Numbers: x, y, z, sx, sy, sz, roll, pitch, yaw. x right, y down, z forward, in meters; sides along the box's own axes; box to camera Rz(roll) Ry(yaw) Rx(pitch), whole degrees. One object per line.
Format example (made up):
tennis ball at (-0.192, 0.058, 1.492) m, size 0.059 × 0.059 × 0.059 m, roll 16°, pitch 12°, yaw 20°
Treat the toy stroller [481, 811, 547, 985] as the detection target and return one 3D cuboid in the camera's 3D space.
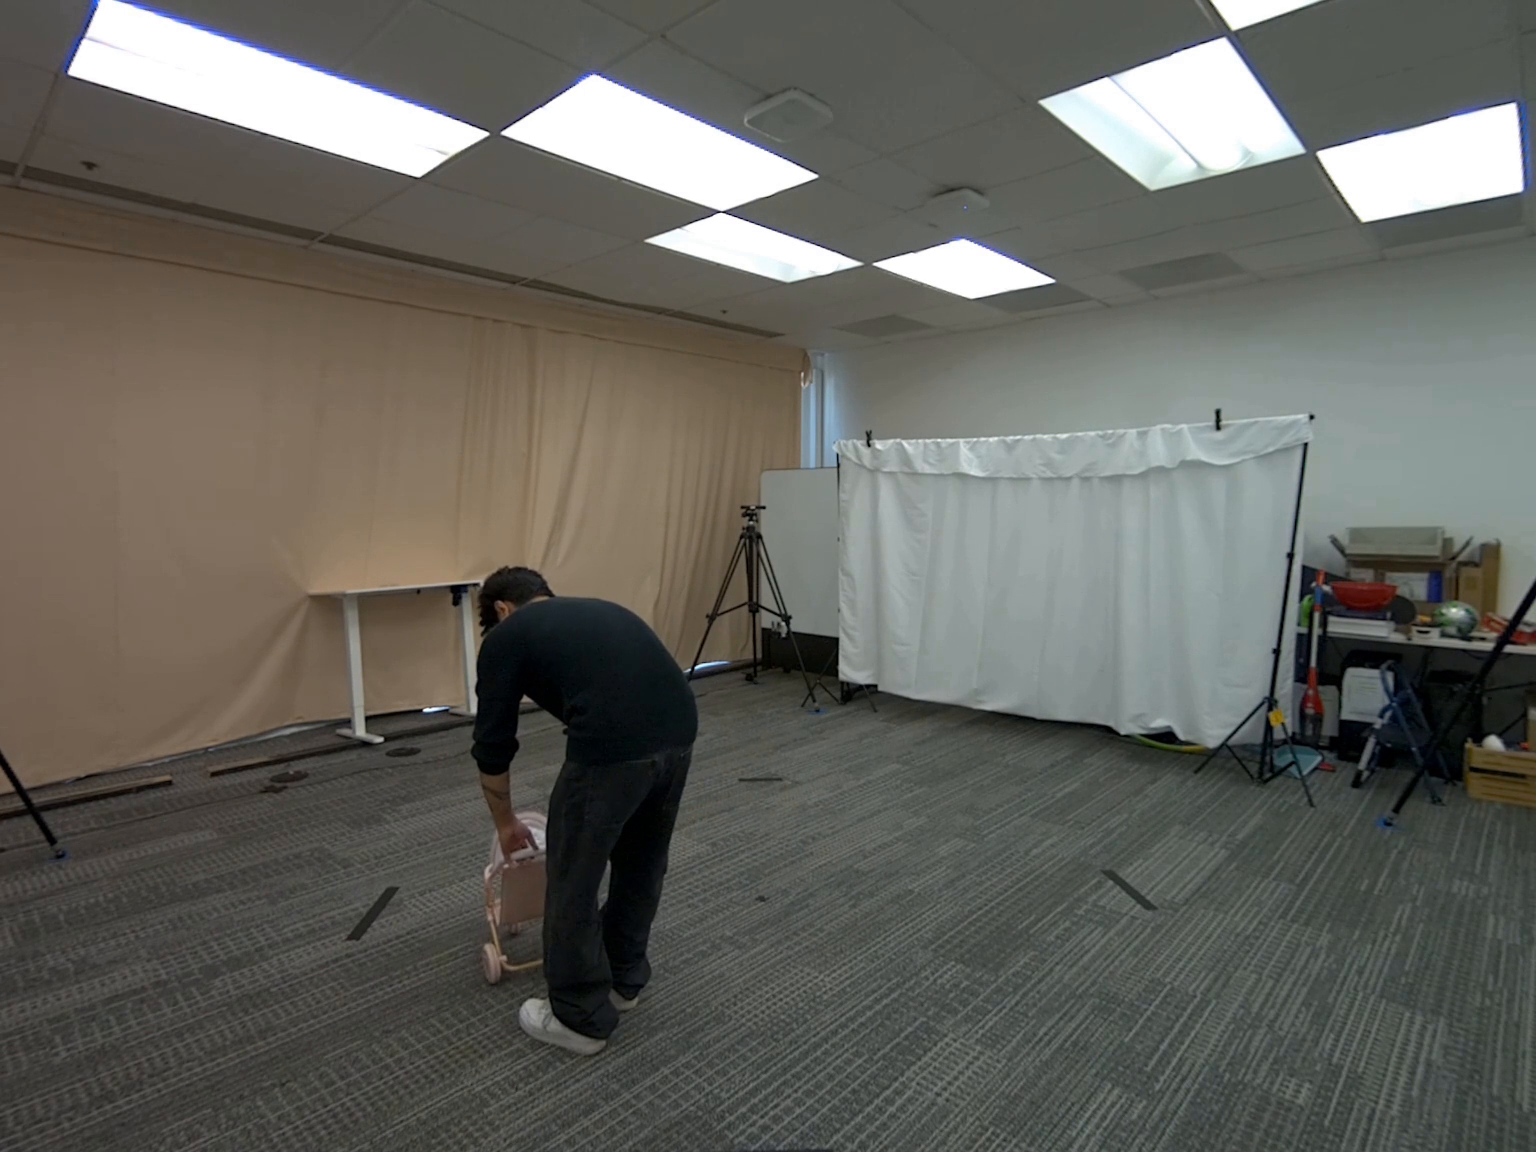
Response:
toy stroller at (-0.740, 0.956, 2.572) m, size 0.275 × 0.530 × 0.352 m, roll -3°, pitch 20°, yaw -25°
